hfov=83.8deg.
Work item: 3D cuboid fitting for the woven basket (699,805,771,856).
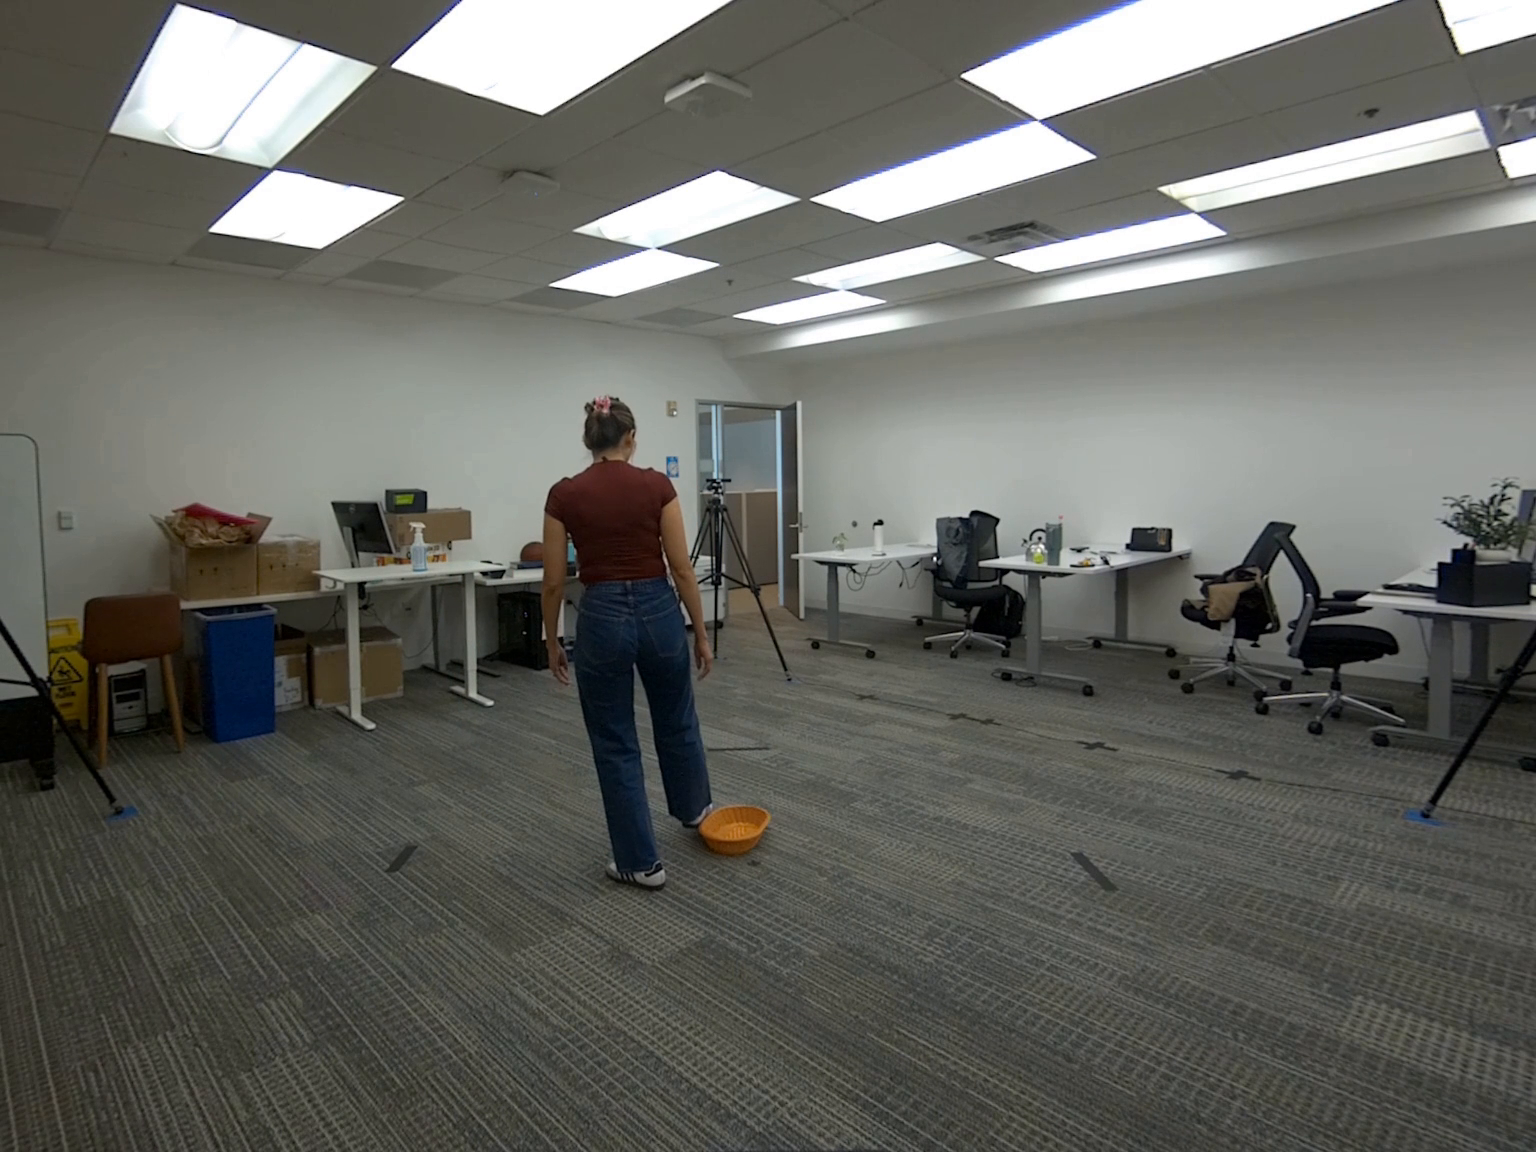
[{"bbox_3d":[-0.131,0.977,3.304,0.257,0.073,0.345,1,6,20],"label":"woven basket"}]
